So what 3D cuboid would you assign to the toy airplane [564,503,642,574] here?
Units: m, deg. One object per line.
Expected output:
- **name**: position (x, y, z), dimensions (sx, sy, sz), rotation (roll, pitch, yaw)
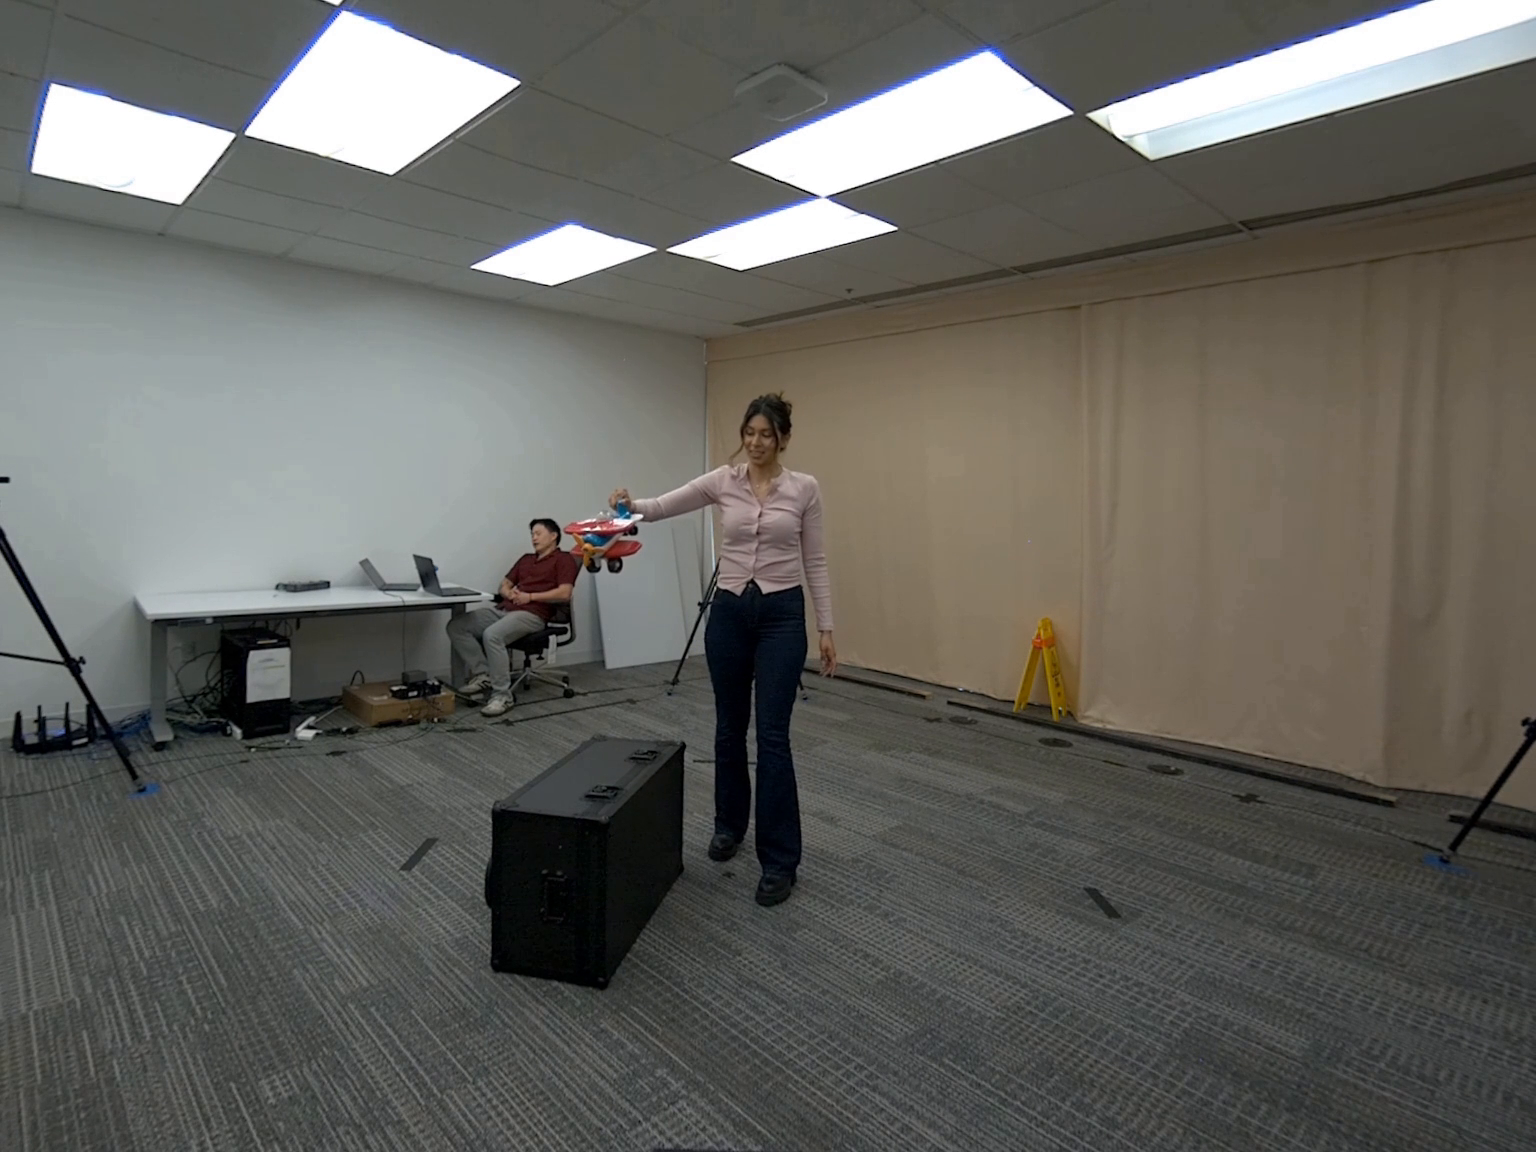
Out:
- **toy airplane**: position (-0.529, -0.130, 2.705), dimensions (0.252, 0.152, 0.266), rotation (-19, 37, 6)
